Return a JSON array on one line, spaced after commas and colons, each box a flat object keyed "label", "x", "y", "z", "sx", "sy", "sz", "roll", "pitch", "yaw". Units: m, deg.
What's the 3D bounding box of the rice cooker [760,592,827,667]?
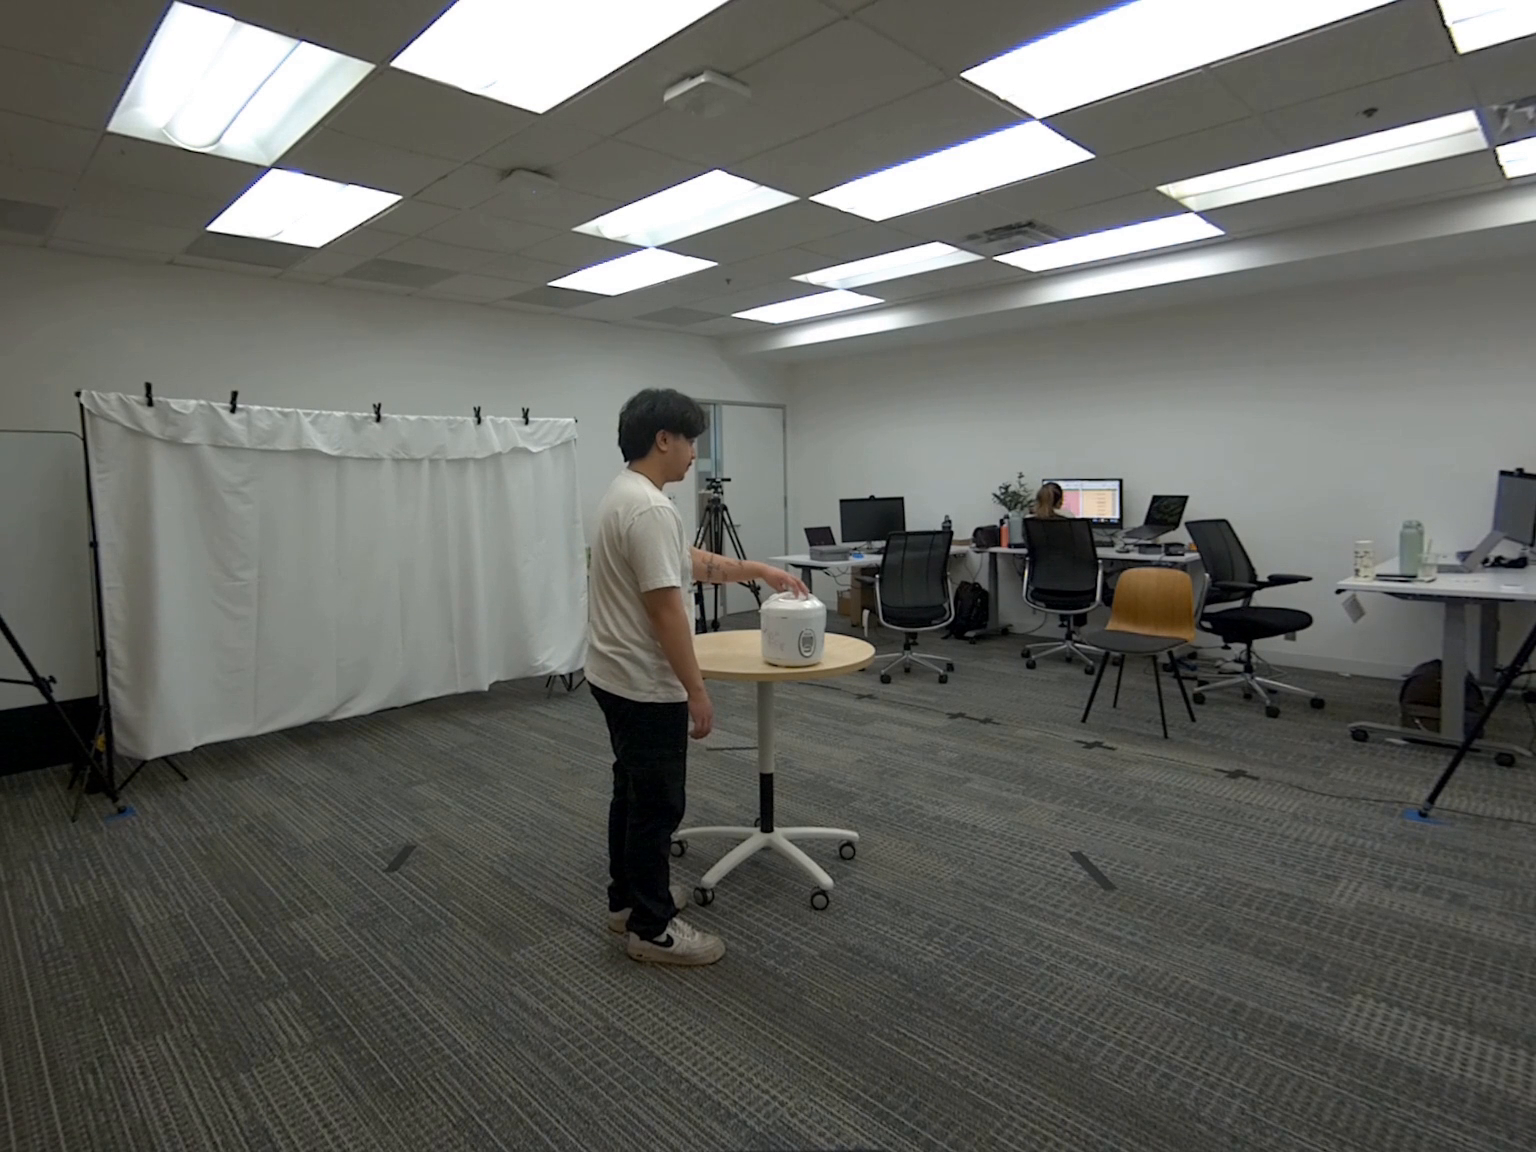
[{"label": "rice cooker", "x": 0.085, "y": 0.164, "z": 2.768, "sx": 0.216, "sy": 0.232, "sz": 0.222, "roll": -4, "pitch": 5, "yaw": -23}]
